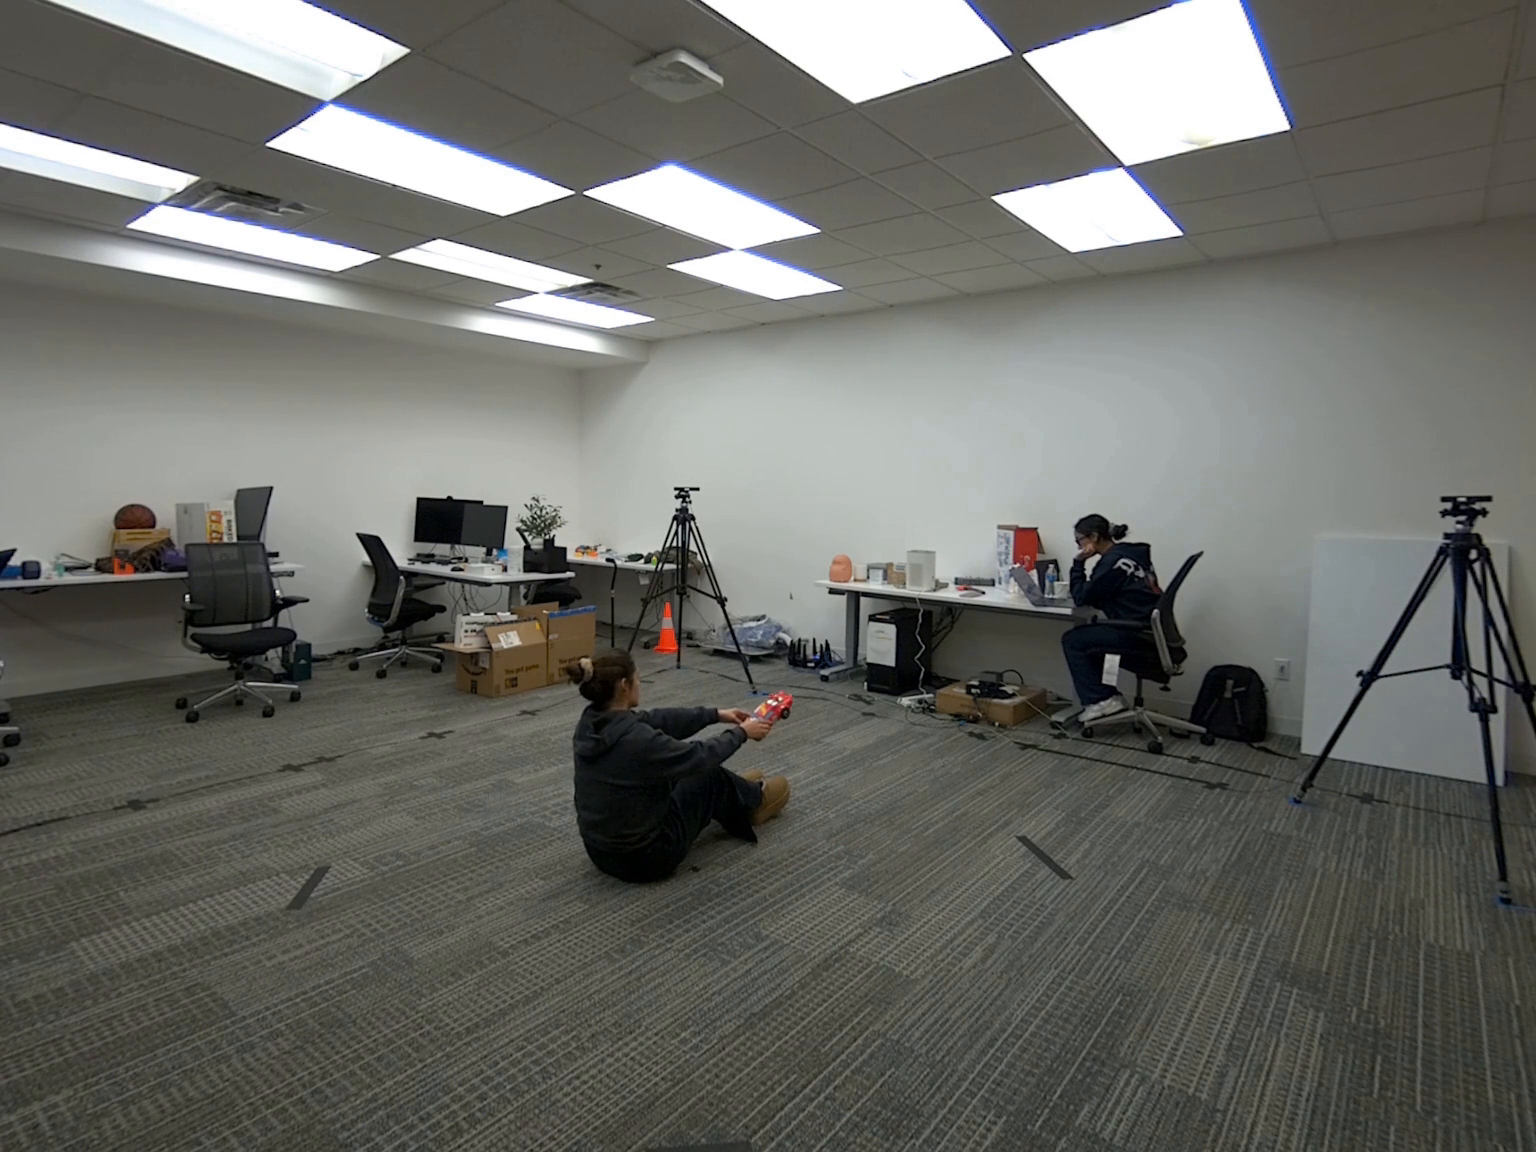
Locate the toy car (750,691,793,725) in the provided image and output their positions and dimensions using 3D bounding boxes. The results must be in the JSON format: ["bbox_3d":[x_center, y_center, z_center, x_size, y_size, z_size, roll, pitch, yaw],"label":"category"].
[{"bbox_3d":[-0.006,0.553,3.378,0.254,0.080,0.135,-48,32,-21],"label":"toy car"}]
